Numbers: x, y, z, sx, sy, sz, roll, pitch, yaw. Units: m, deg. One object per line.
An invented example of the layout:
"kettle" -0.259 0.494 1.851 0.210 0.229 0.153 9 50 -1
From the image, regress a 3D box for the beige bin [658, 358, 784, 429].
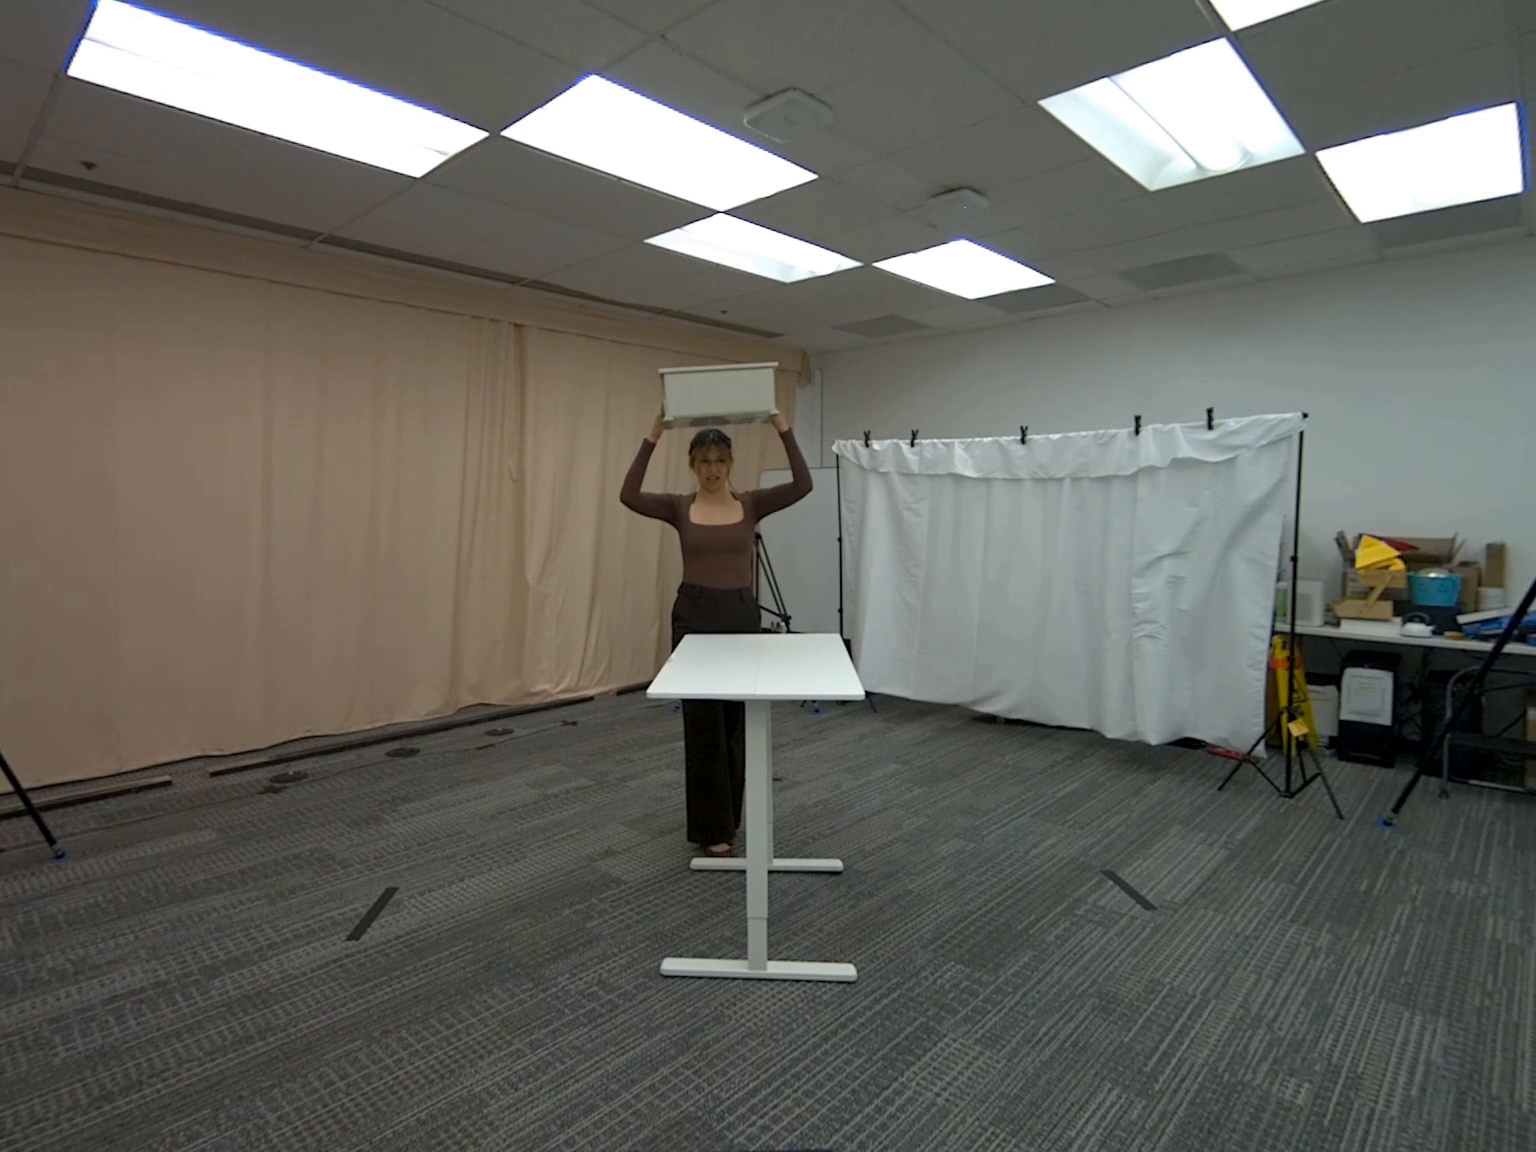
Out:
"beige bin" -0.191 -0.673 3.153 0.420 0.188 0.381 -5 7 -5
